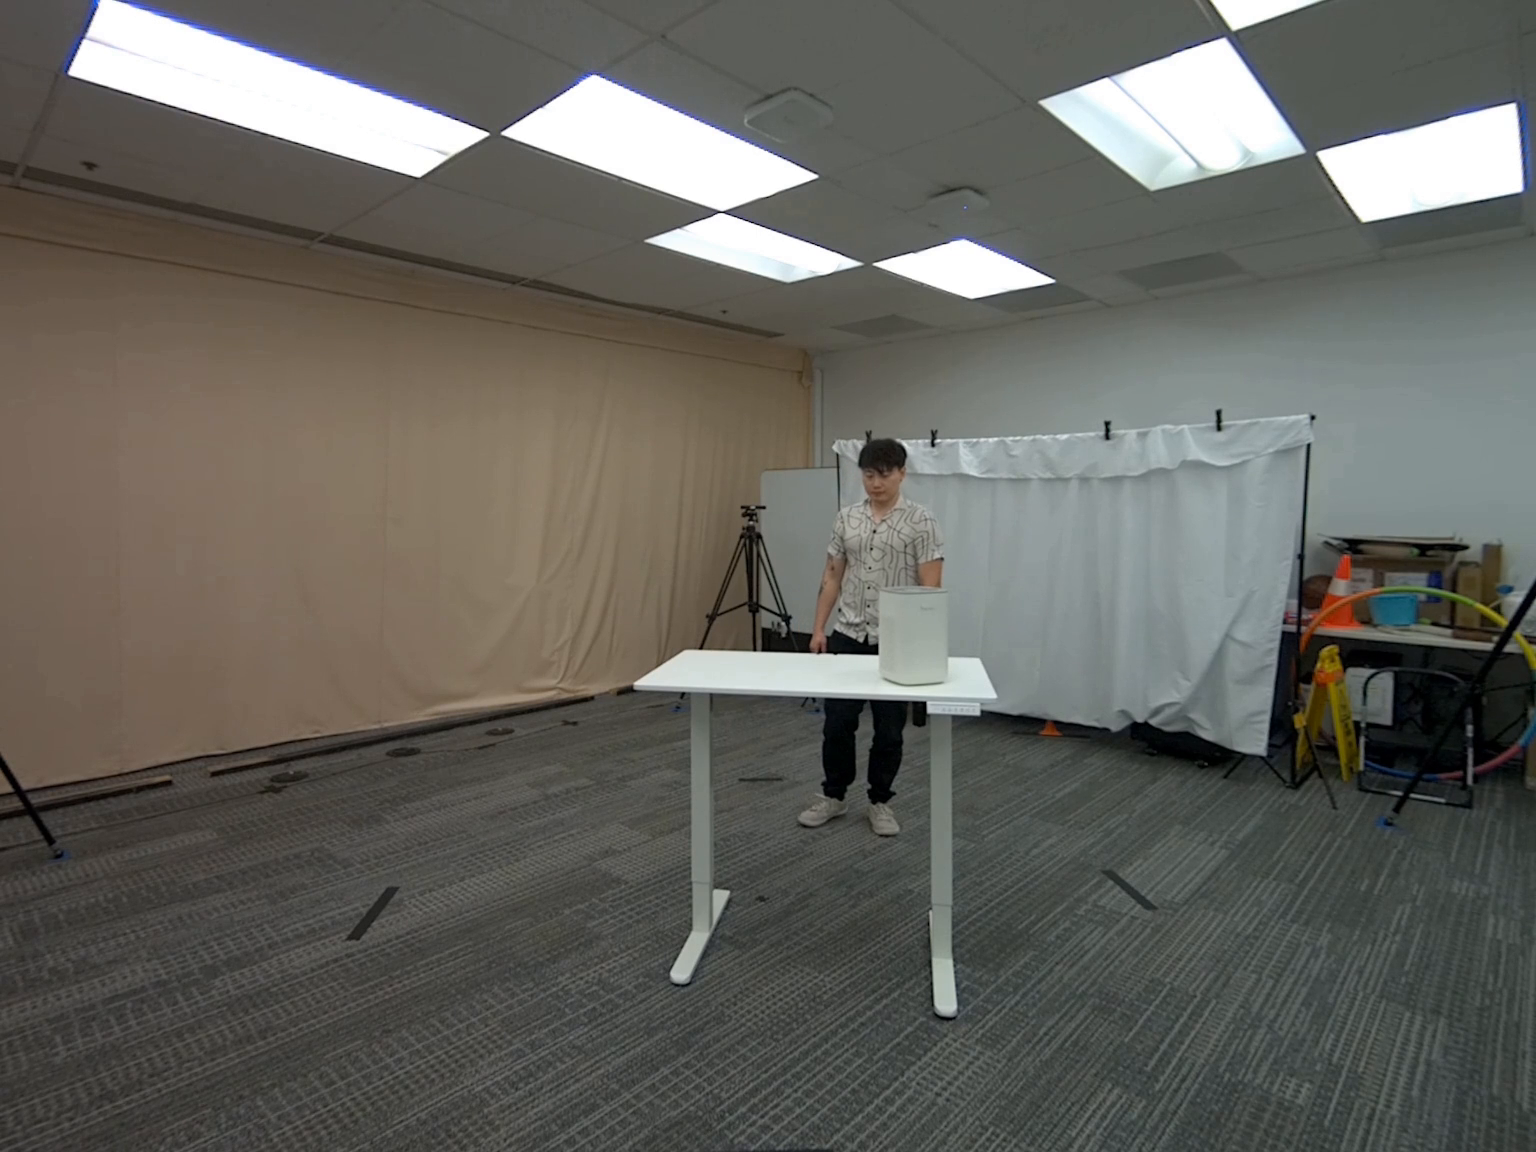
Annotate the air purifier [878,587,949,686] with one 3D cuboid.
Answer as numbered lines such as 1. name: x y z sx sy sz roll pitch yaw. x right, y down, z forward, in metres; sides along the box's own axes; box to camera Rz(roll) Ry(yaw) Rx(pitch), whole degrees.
1. air purifier: 0.421 0.175 2.430 0.168 0.265 0.175 -2 4 -16
